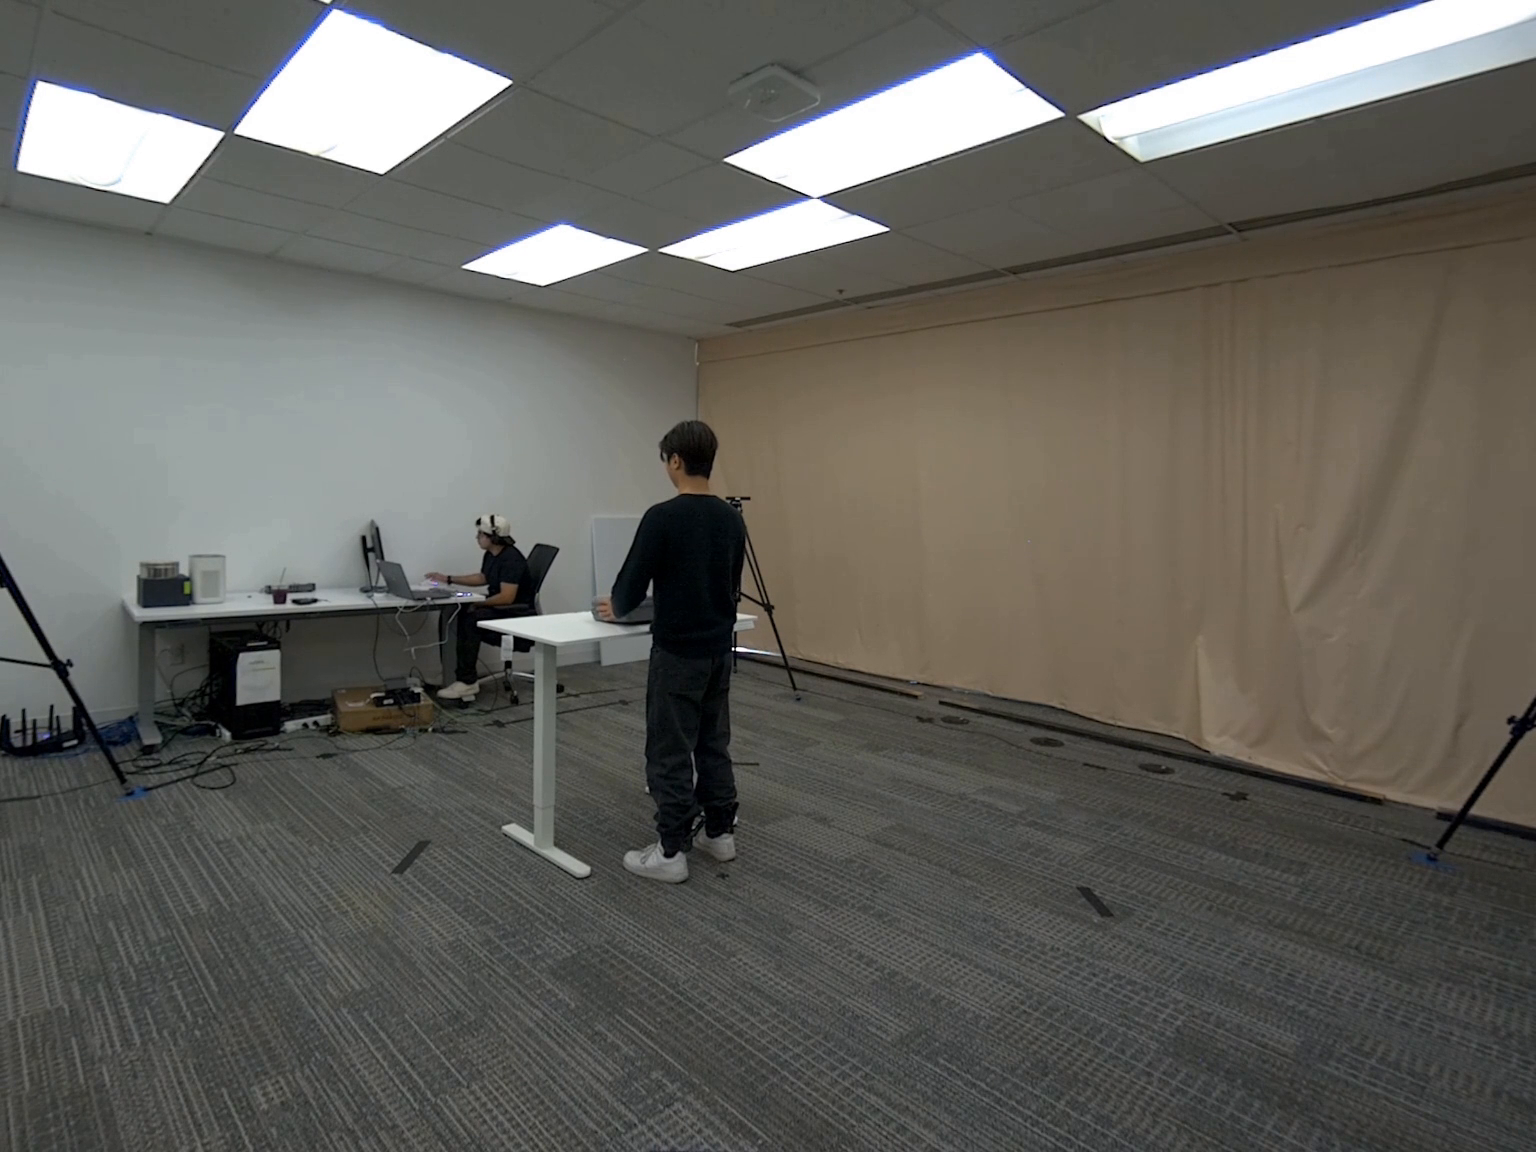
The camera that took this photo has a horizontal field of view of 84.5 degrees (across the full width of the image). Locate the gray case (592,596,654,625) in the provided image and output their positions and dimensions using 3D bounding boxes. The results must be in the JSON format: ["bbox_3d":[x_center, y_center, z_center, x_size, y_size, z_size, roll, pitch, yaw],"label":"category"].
[{"bbox_3d":[-0.555,0.127,3.441,0.266,0.104,0.251,-1,4,41],"label":"gray case"}]
